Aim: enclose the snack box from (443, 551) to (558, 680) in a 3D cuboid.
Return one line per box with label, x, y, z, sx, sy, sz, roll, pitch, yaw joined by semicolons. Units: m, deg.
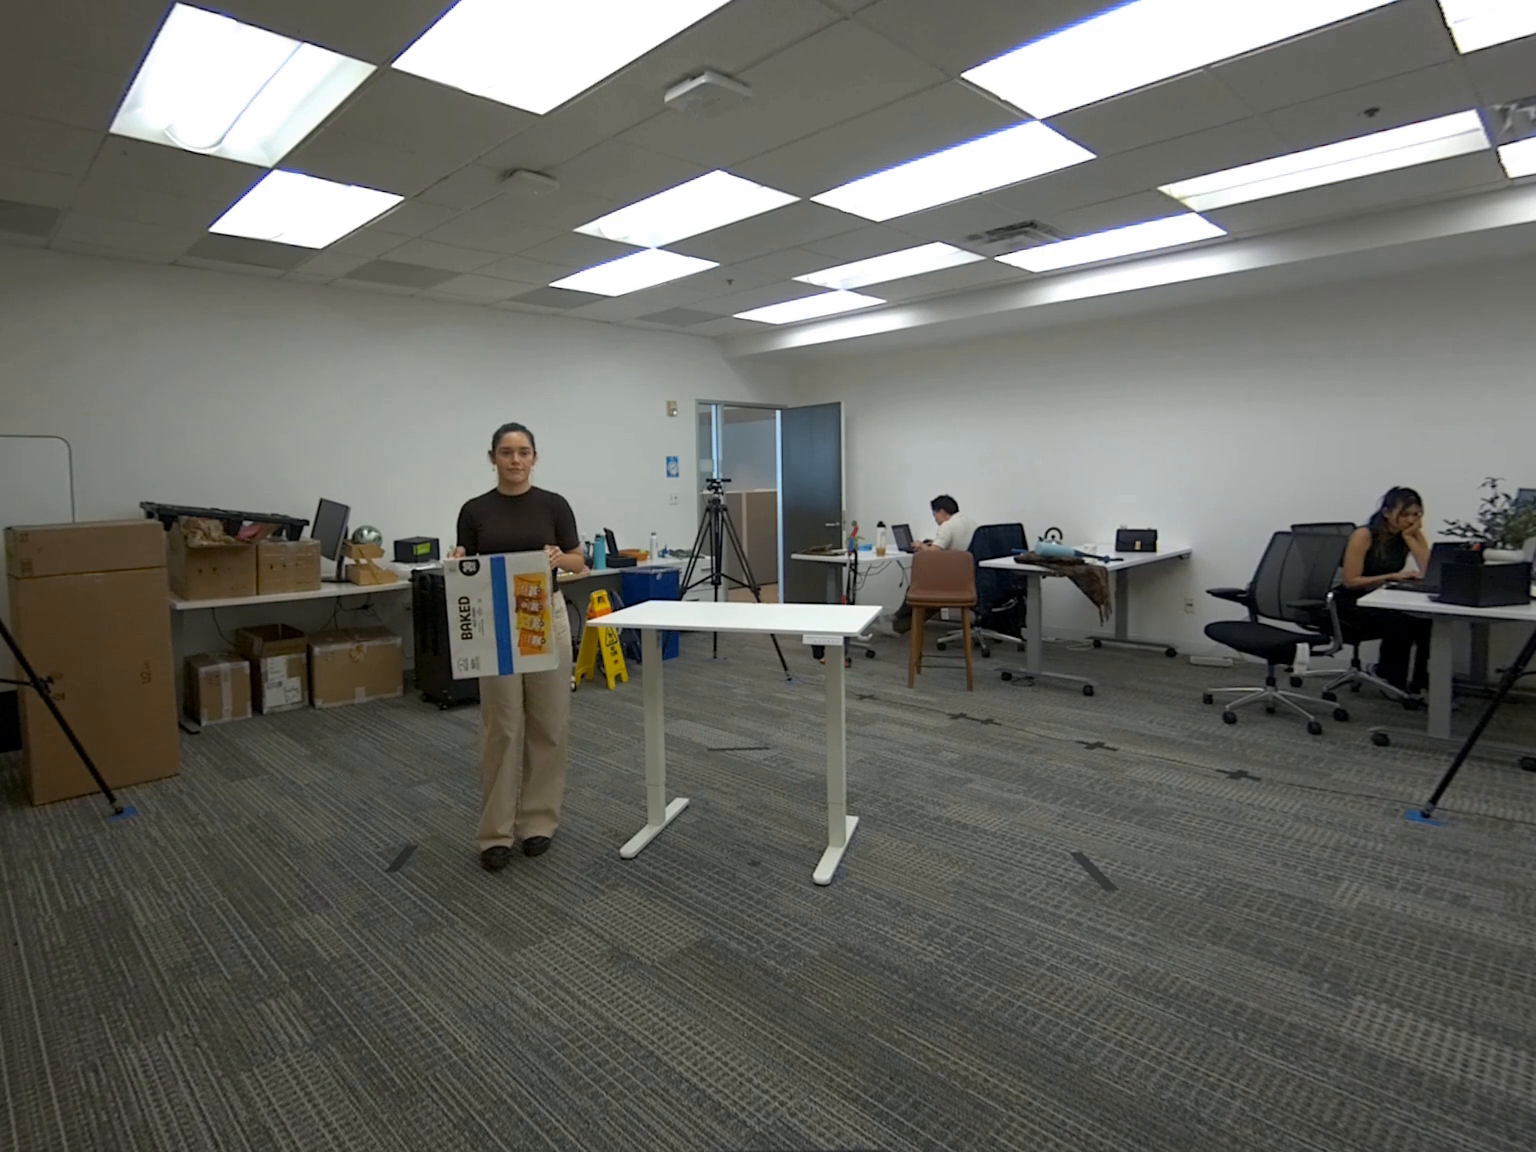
snack box;-0.921;0.129;2.959;0.338;0.404;0.208;-5;3;-8
